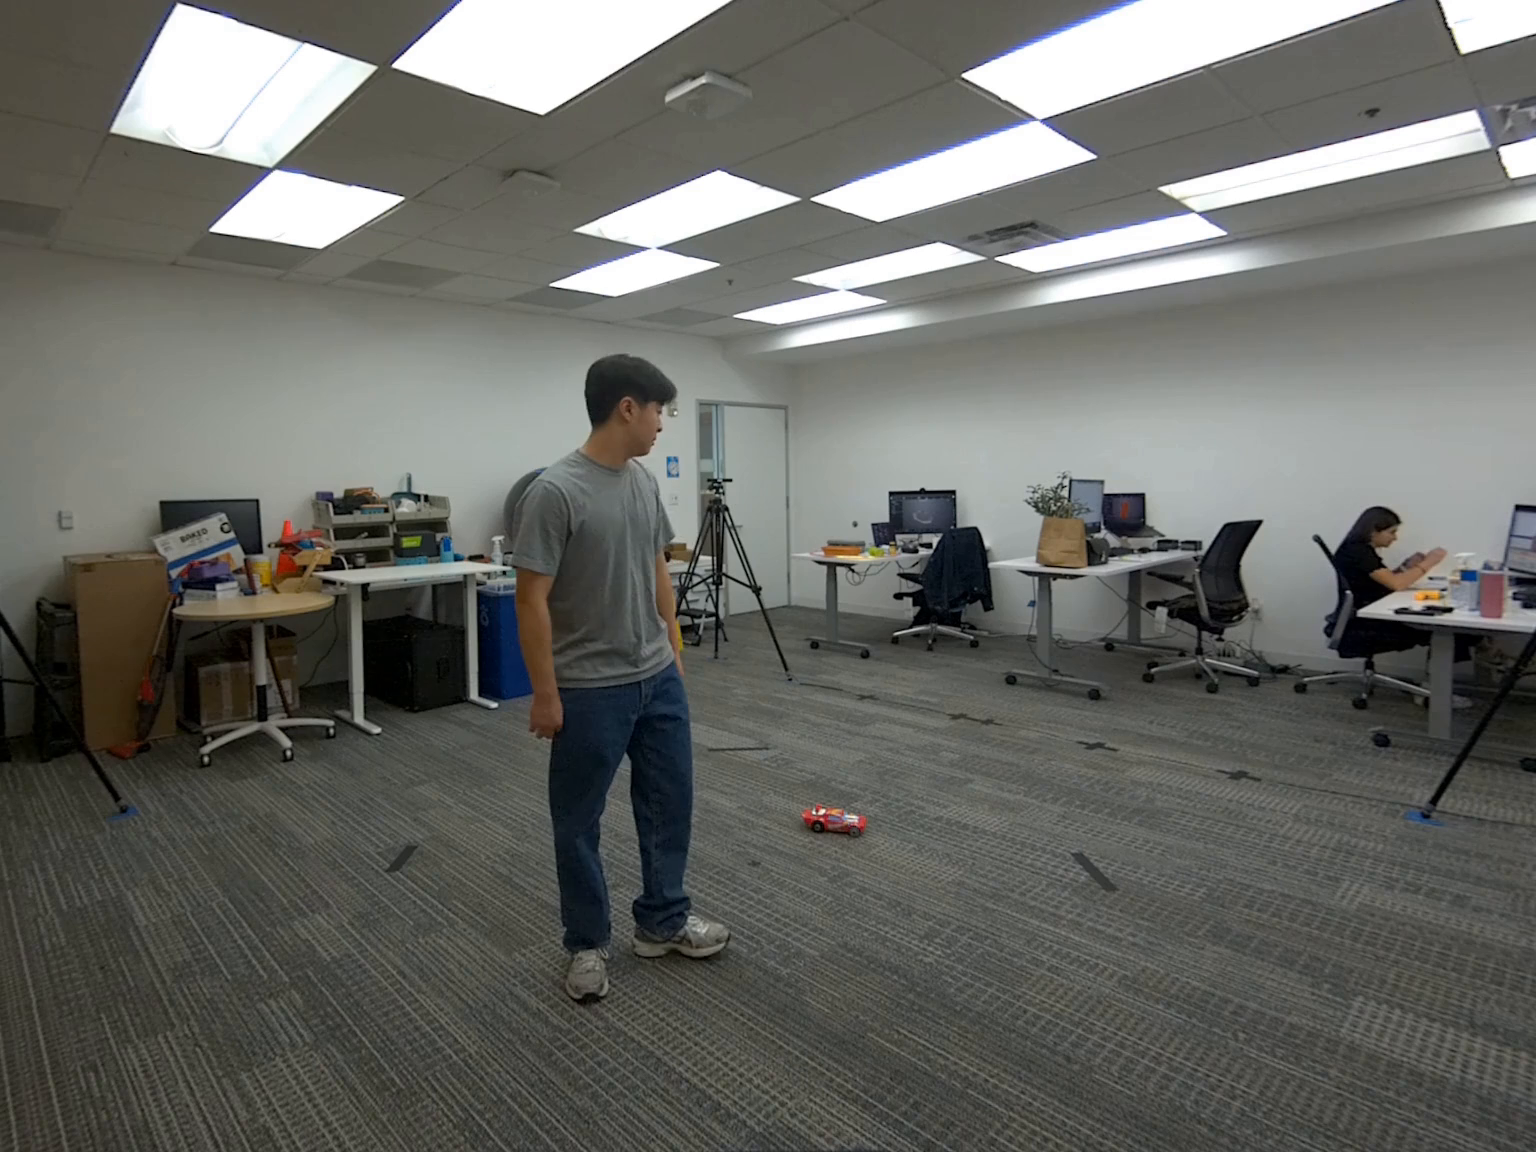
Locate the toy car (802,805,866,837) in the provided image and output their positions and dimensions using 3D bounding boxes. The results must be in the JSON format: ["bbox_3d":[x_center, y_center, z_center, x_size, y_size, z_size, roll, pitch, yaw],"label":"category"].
[{"bbox_3d":[0.263,0.975,3.398,0.259,0.083,0.128,13,9,17],"label":"toy car"}]
